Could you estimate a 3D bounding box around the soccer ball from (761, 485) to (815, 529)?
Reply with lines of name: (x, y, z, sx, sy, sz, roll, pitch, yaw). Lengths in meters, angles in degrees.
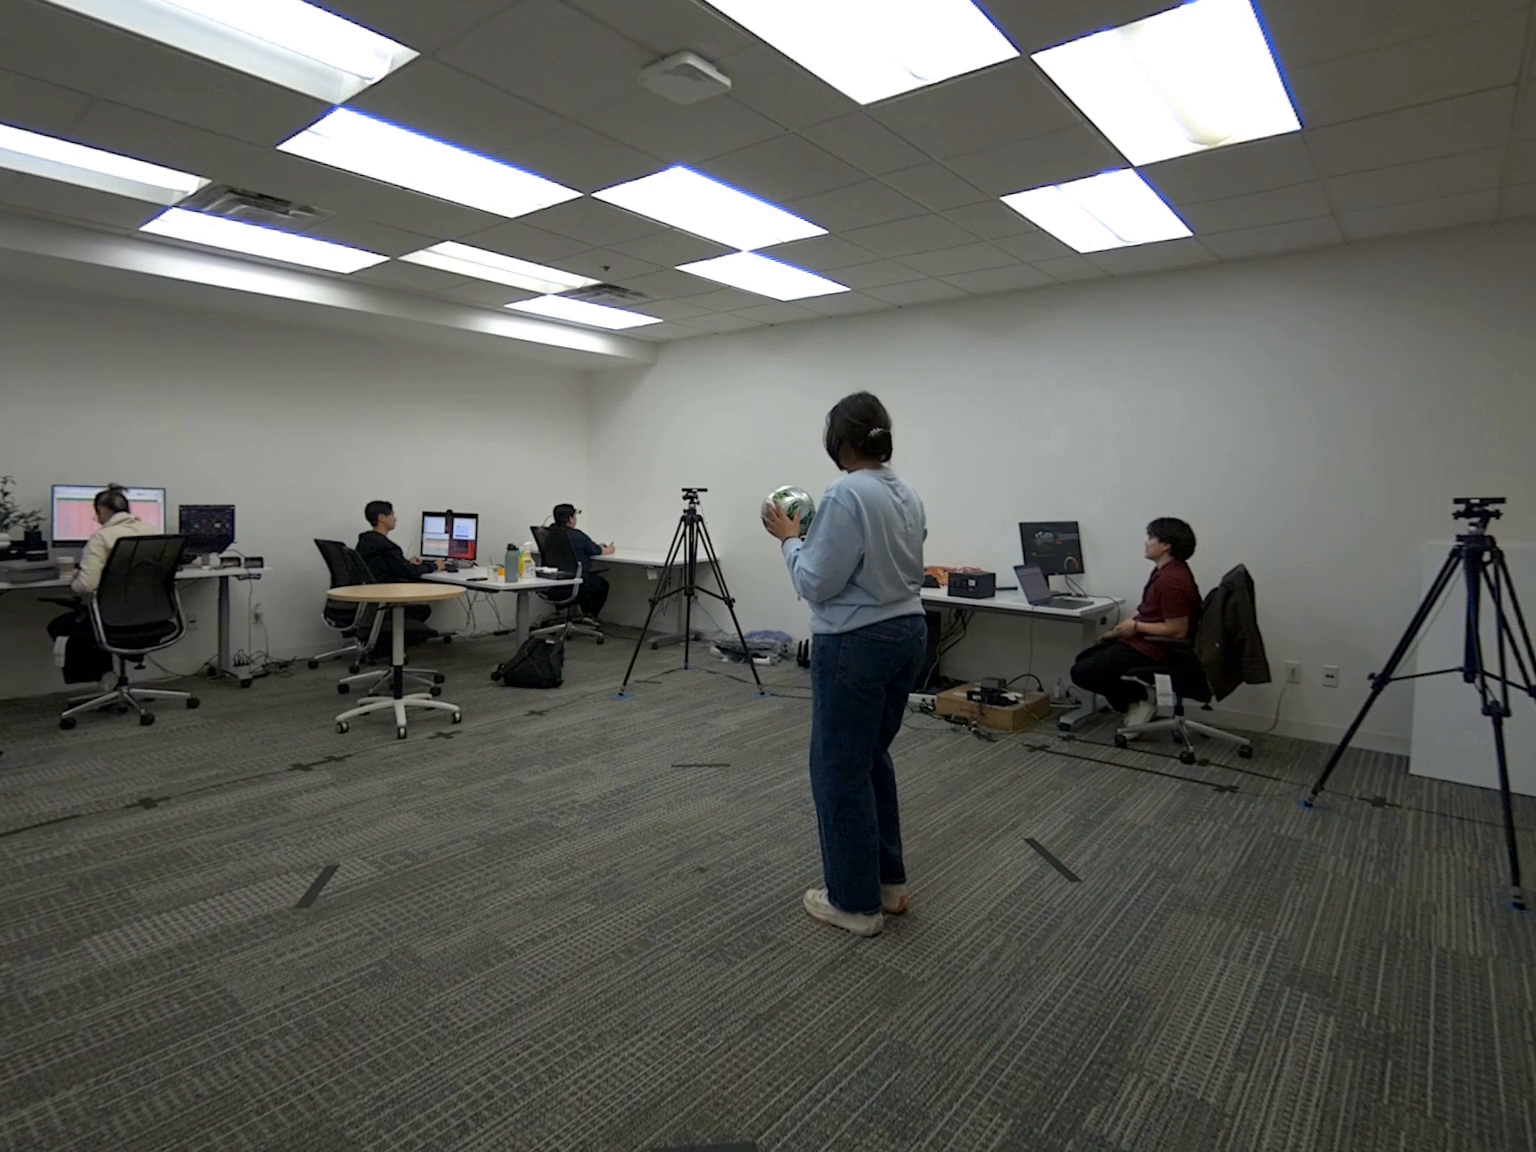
soccer ball: (0.060, -0.223, 2.922, 0.187, 0.187, 0.188, 1, 4, -2)
